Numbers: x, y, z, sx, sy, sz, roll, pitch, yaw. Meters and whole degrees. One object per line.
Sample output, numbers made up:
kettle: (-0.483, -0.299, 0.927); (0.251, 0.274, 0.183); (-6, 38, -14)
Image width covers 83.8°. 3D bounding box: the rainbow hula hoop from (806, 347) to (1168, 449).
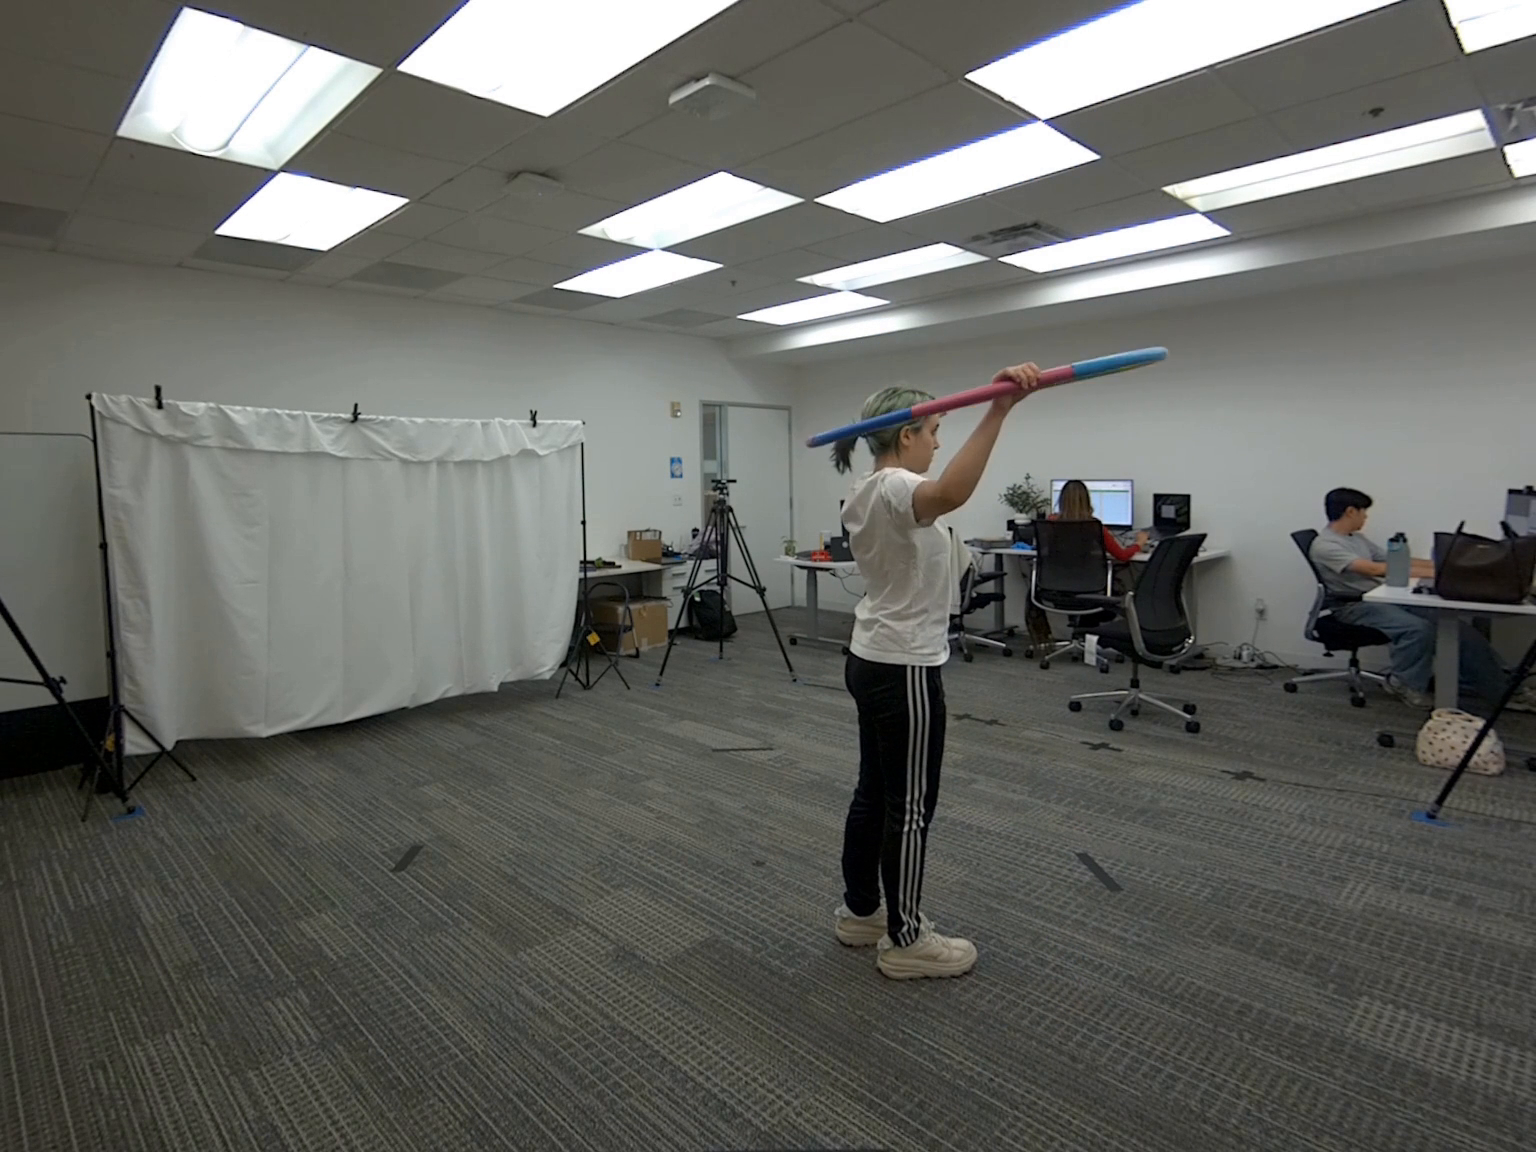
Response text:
rainbow hula hoop: (0.571, -0.489, 2.405); (0.985, 0.051, 0.991); (-14, 7, 0)
